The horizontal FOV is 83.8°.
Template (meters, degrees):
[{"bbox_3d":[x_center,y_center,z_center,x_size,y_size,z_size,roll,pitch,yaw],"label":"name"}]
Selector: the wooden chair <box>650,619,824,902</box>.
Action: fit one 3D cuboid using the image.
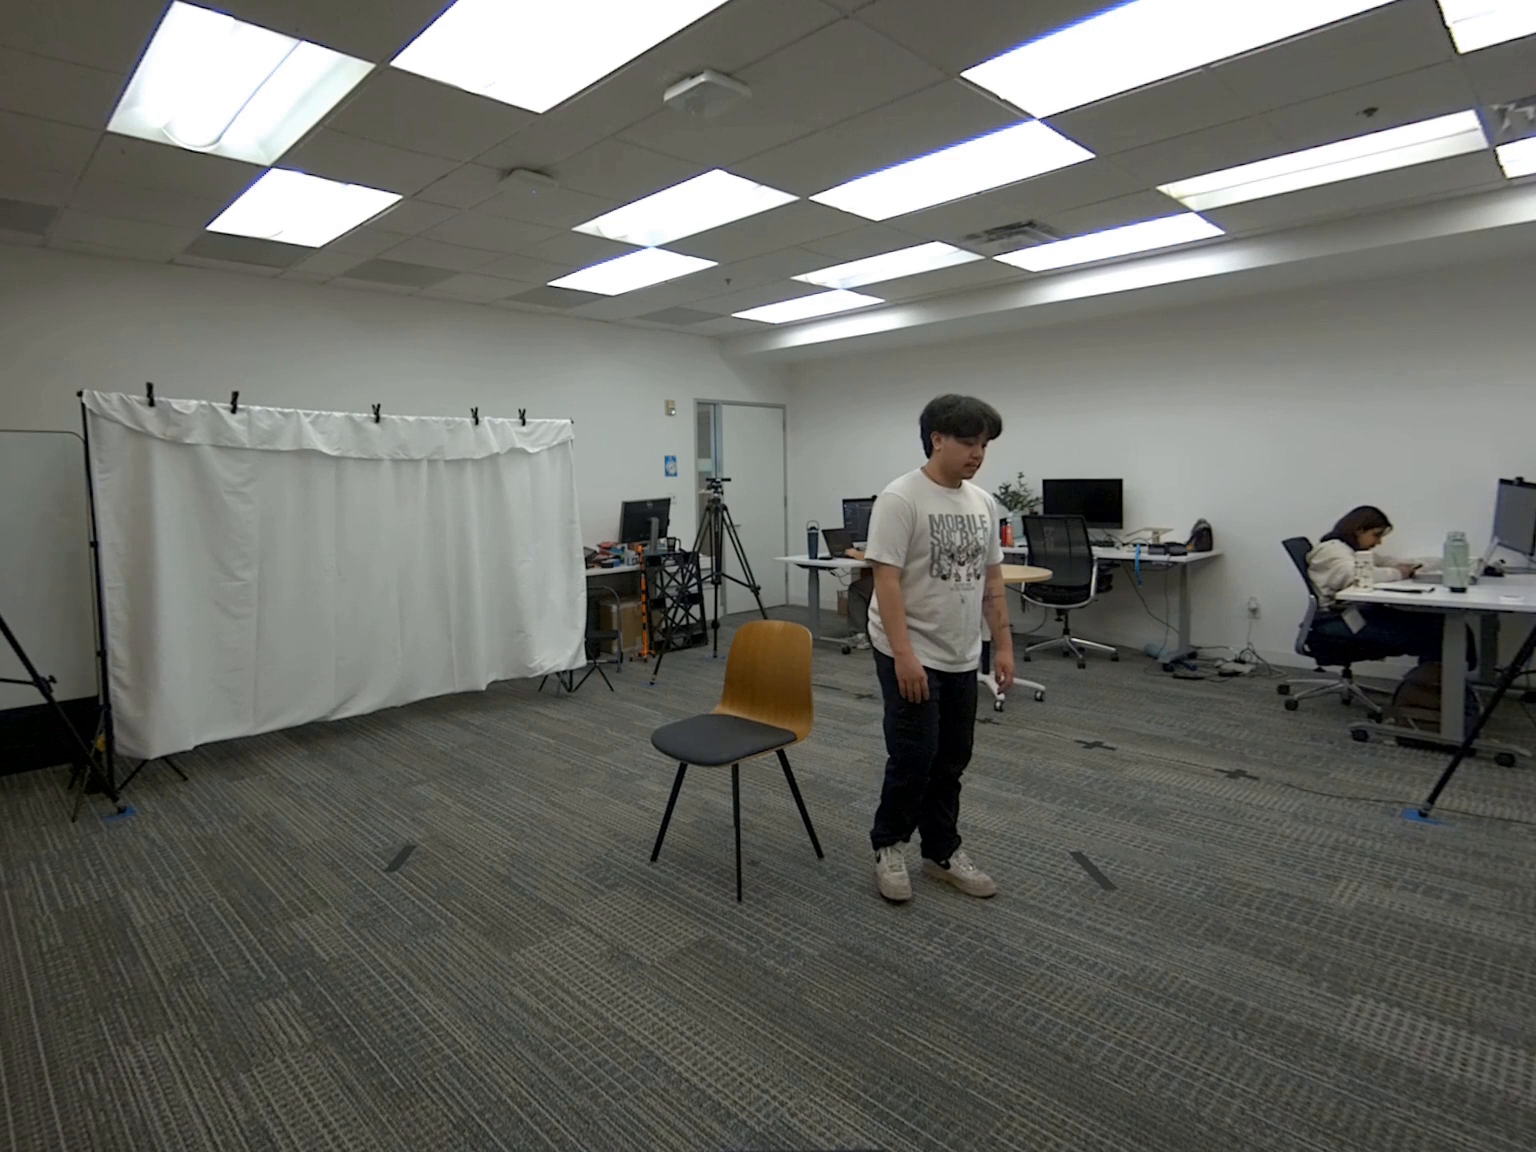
[{"bbox_3d":[-0.127,0.620,3.095,0.493,0.876,0.508,4,2,43],"label":"wooden chair"}]
